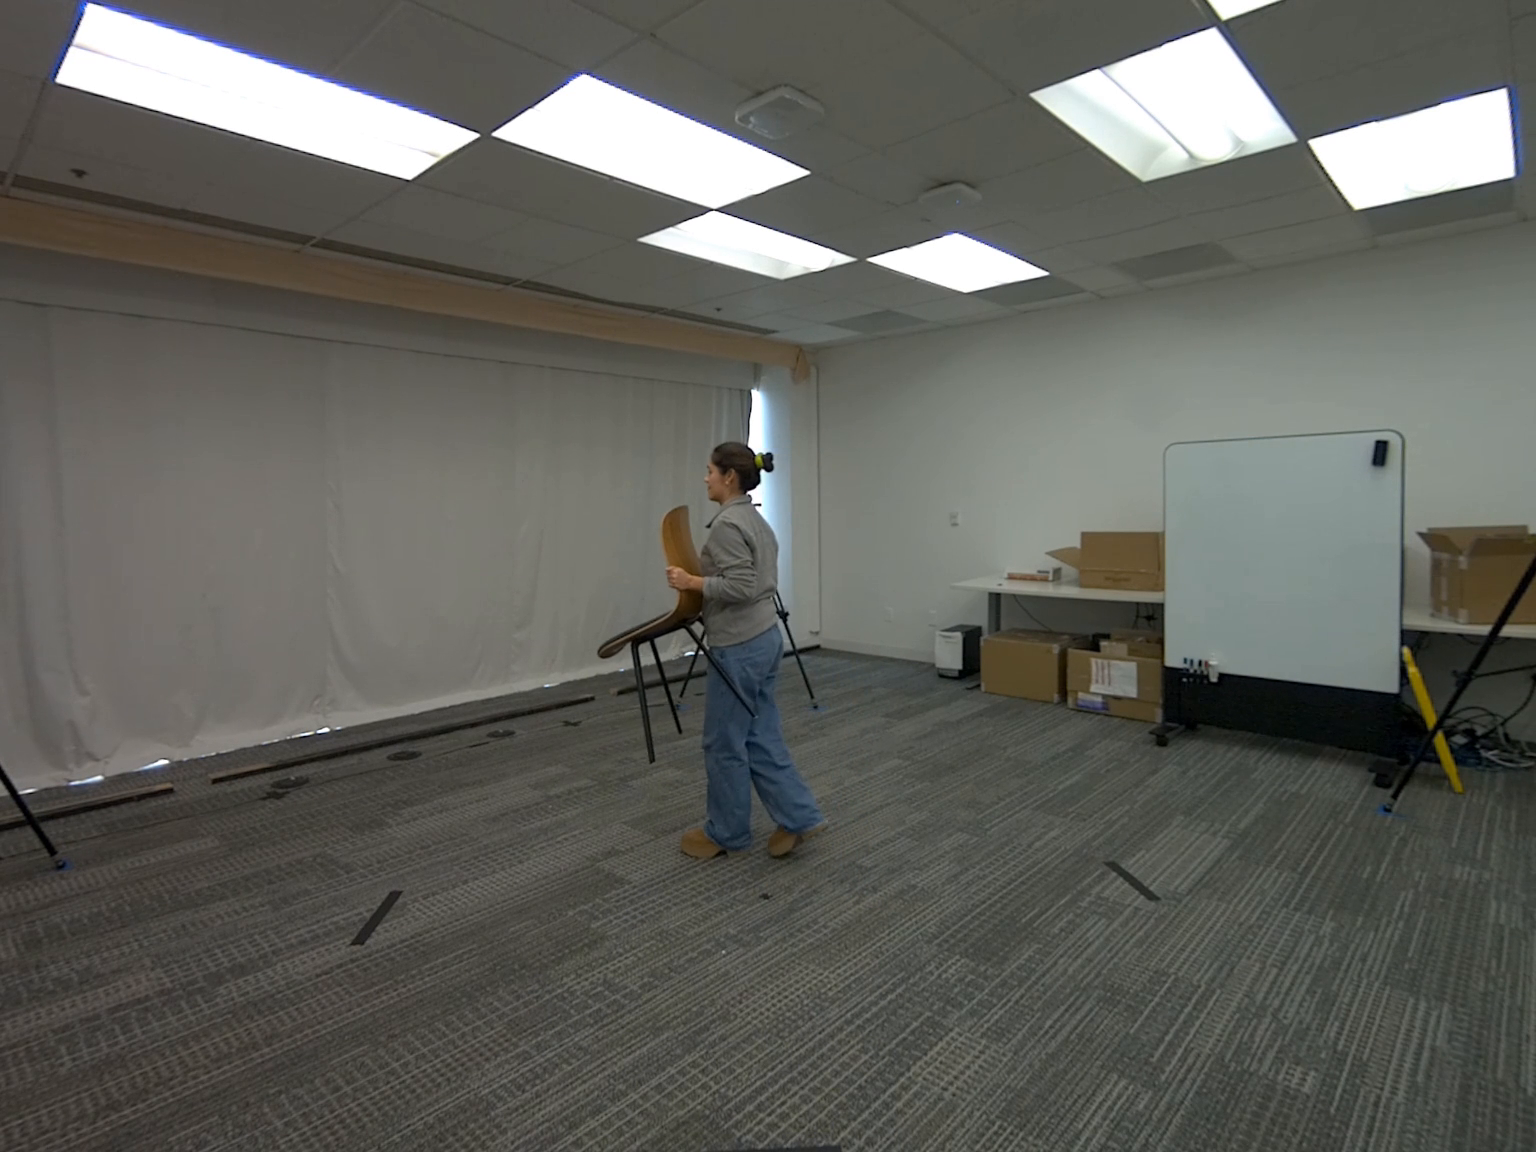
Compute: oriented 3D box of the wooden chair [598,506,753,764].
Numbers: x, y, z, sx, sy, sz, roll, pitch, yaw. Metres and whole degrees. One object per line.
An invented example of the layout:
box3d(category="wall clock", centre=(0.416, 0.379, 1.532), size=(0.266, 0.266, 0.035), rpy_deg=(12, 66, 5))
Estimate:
box3d(category="wooden chair", centre=(-0.406, 0.225, 3.382), size=(0.528, 0.878, 0.473), rpy_deg=(-22, 0, 11))
